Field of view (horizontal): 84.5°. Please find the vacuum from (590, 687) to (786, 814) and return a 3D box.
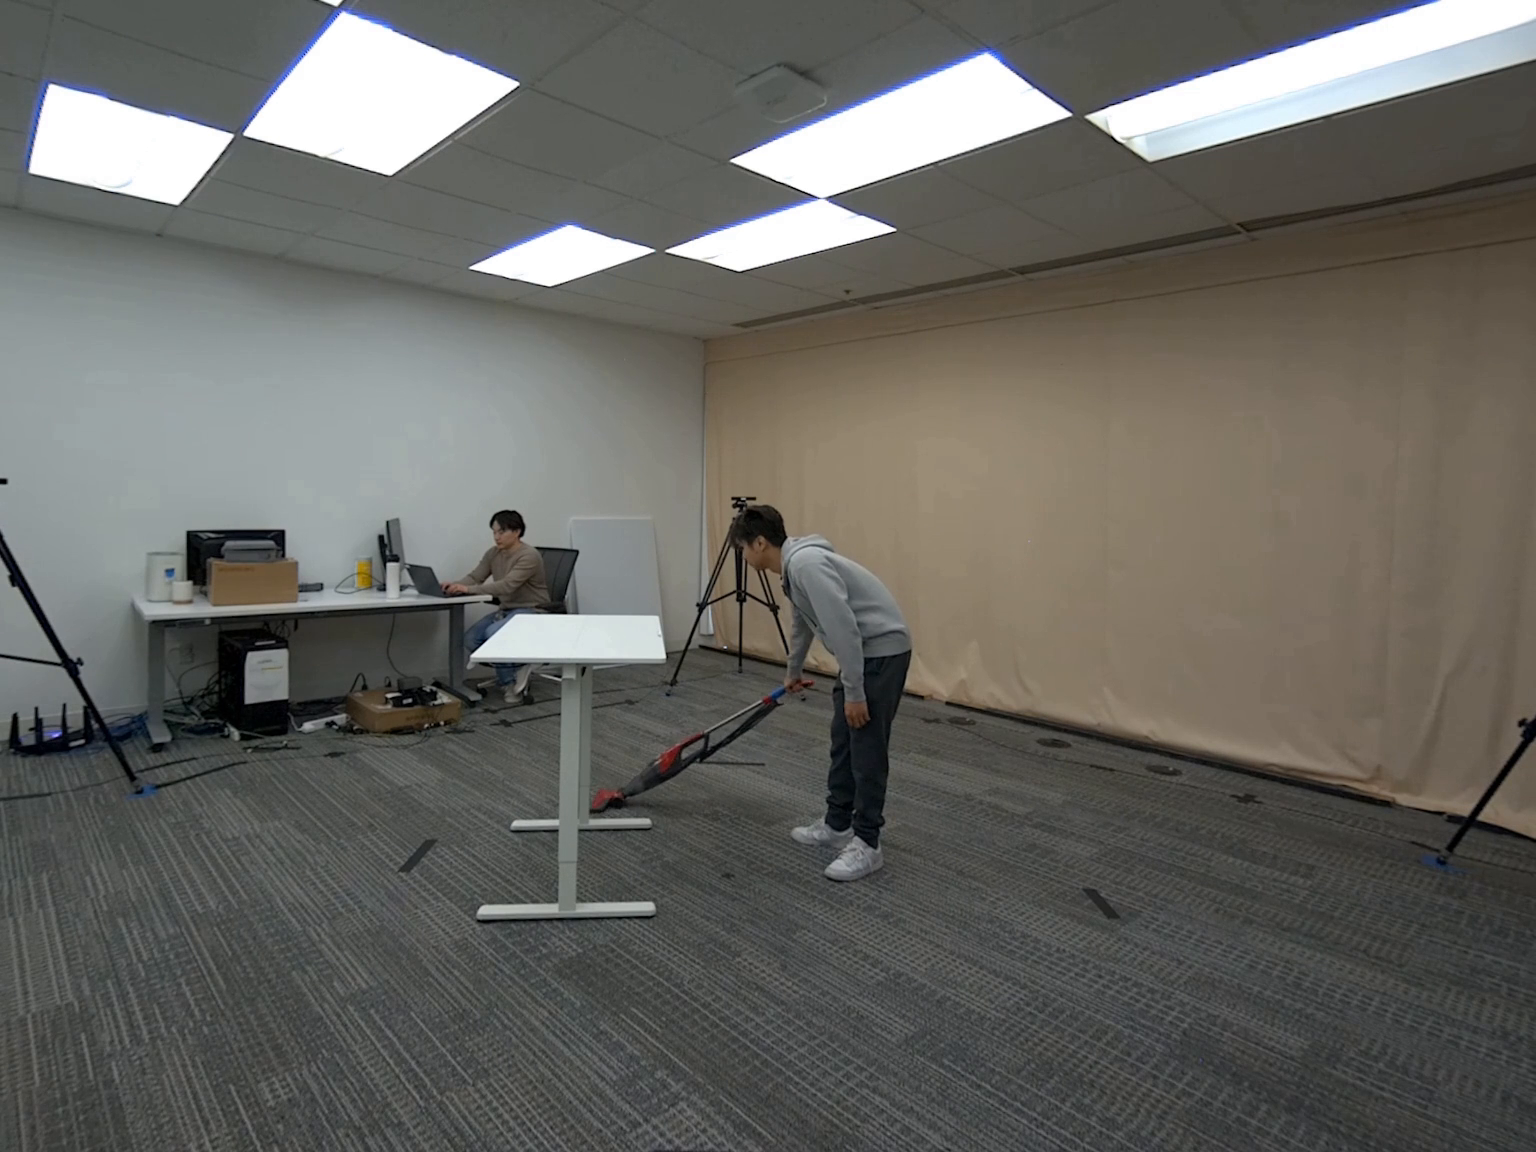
[{"bbox_3d":[-0.268,0.748,3.774,1.050,0.144,0.252,-30,0,3],"label":"vacuum"}]
